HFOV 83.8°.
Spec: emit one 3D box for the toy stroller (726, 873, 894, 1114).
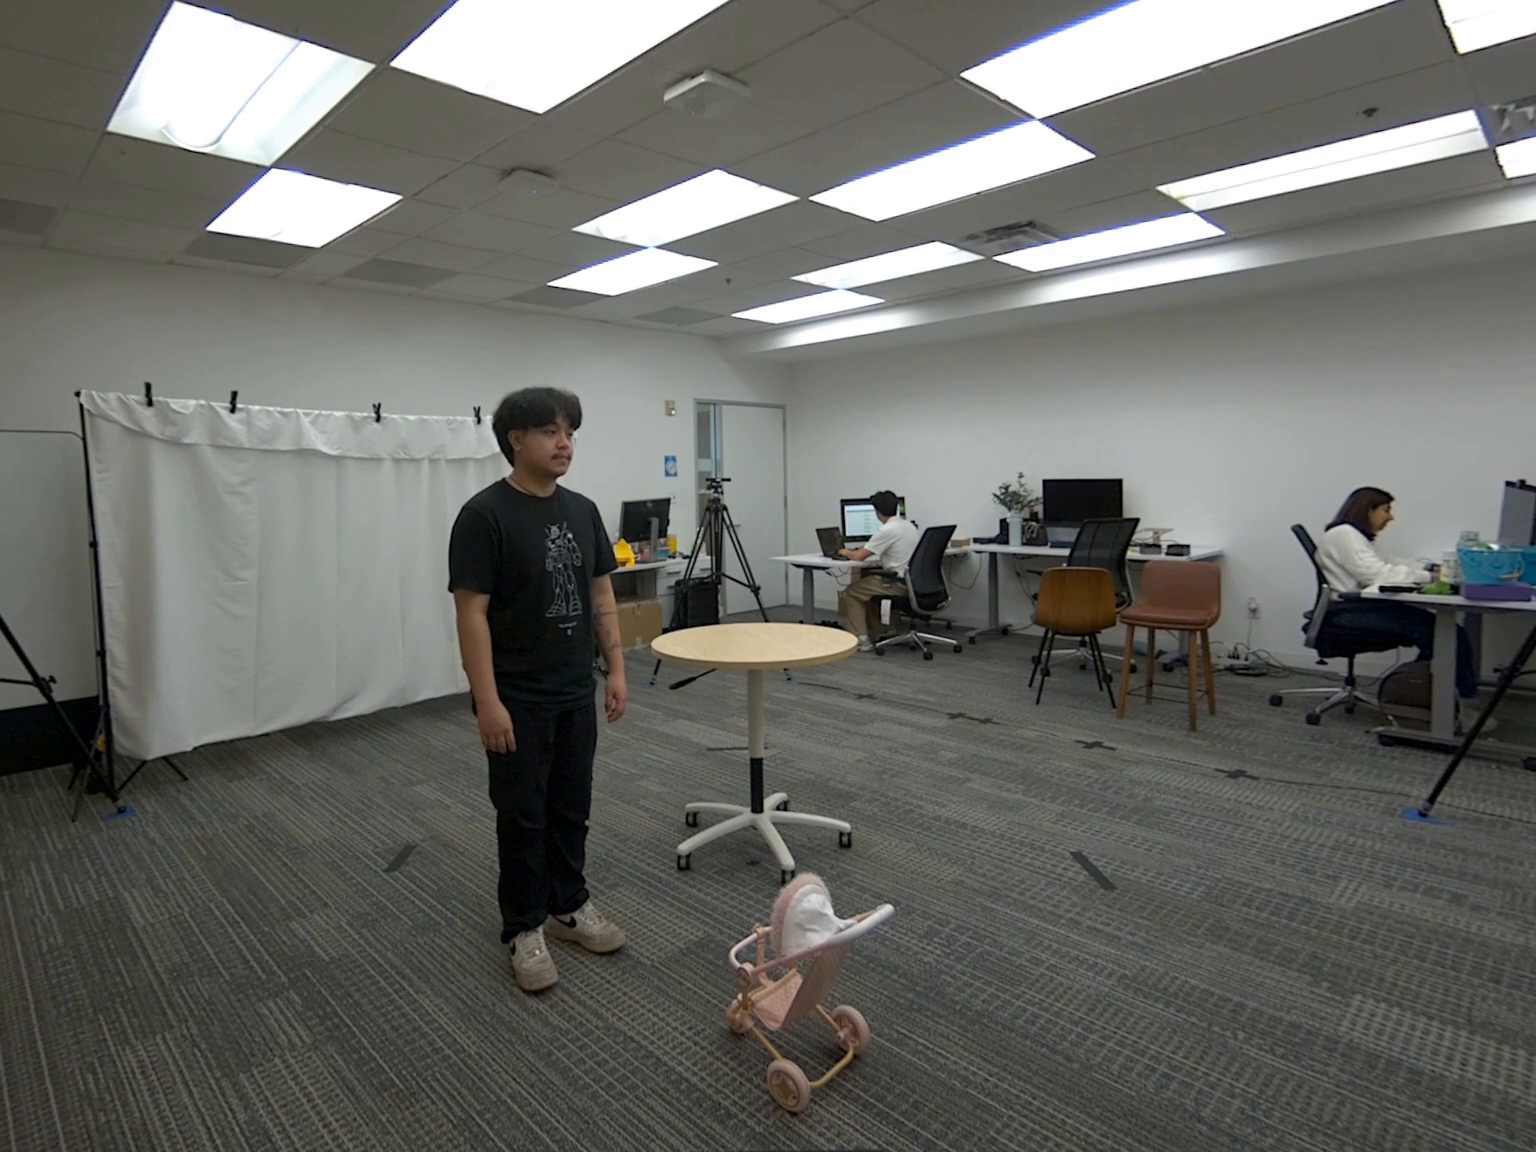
[{"bbox_3d":[0.075,0.945,2.018,0.274,0.529,0.354,-7,22,-45],"label":"toy stroller"}]
